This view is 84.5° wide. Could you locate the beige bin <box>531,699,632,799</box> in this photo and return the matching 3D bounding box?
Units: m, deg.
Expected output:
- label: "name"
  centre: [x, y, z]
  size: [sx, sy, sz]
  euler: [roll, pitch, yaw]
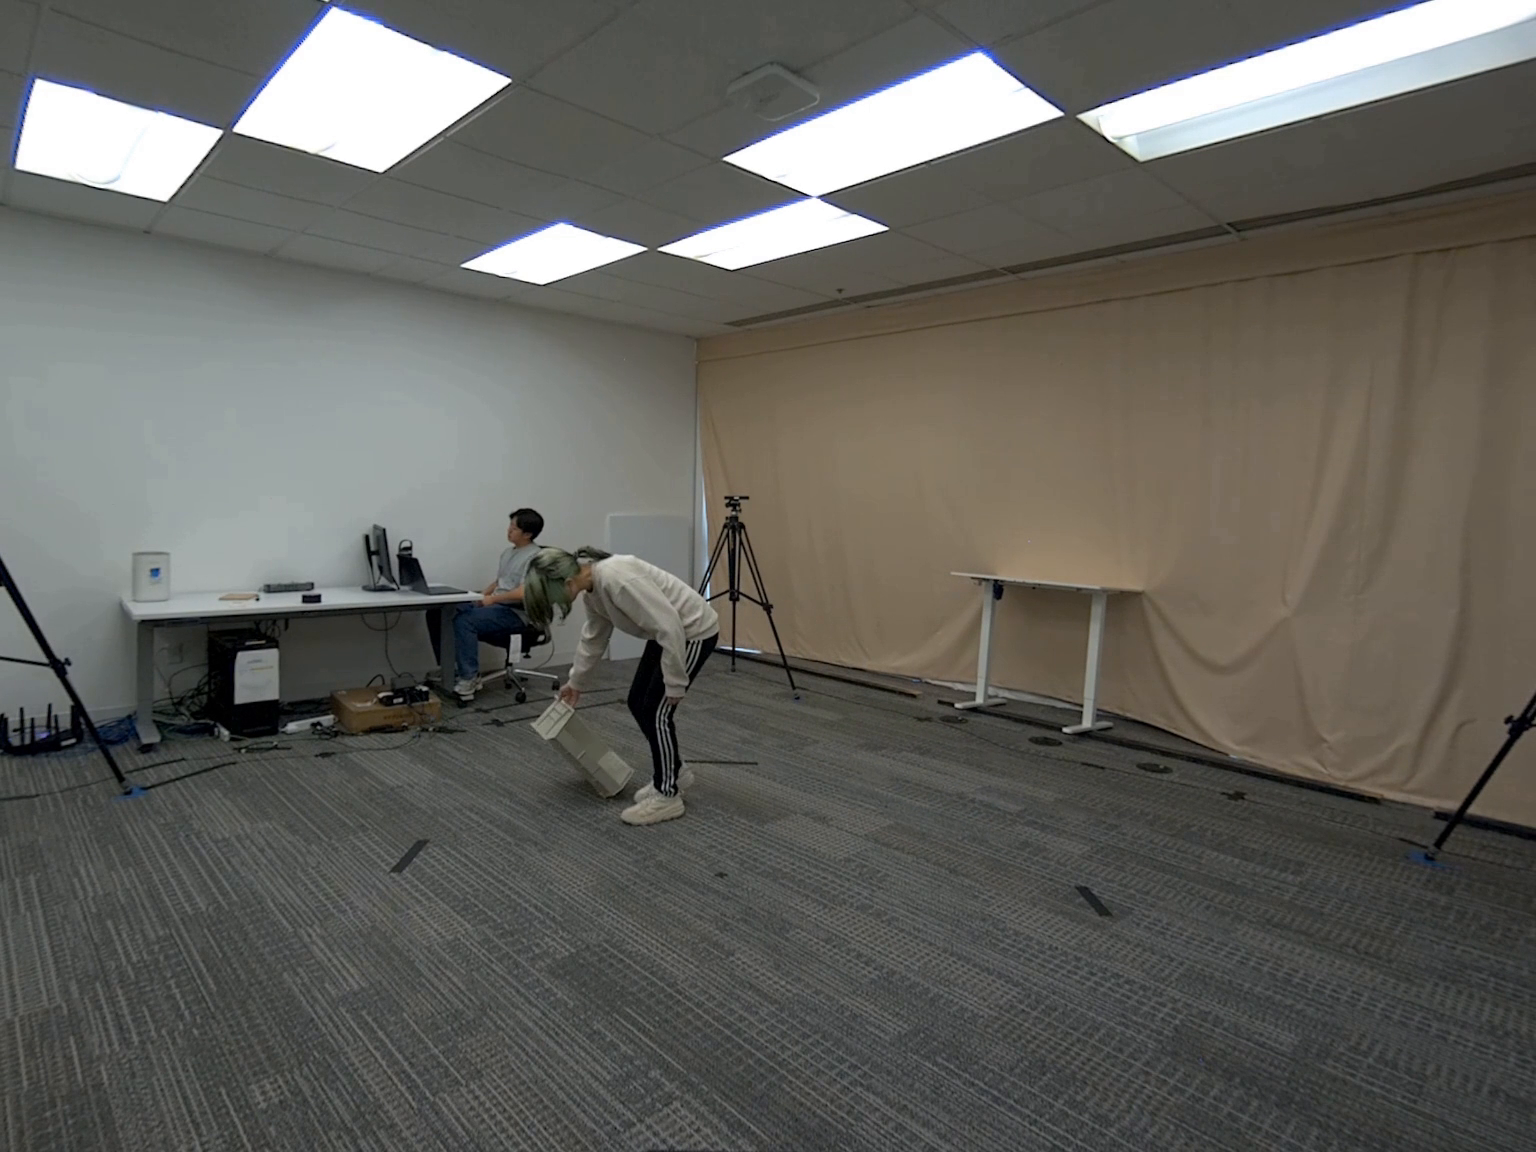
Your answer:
- label: "beige bin"
  centre: [-0.886, 0.807, 3.942]
  size: [0.189, 0.414, 0.385]
  euler: [-47, 21, -15]
